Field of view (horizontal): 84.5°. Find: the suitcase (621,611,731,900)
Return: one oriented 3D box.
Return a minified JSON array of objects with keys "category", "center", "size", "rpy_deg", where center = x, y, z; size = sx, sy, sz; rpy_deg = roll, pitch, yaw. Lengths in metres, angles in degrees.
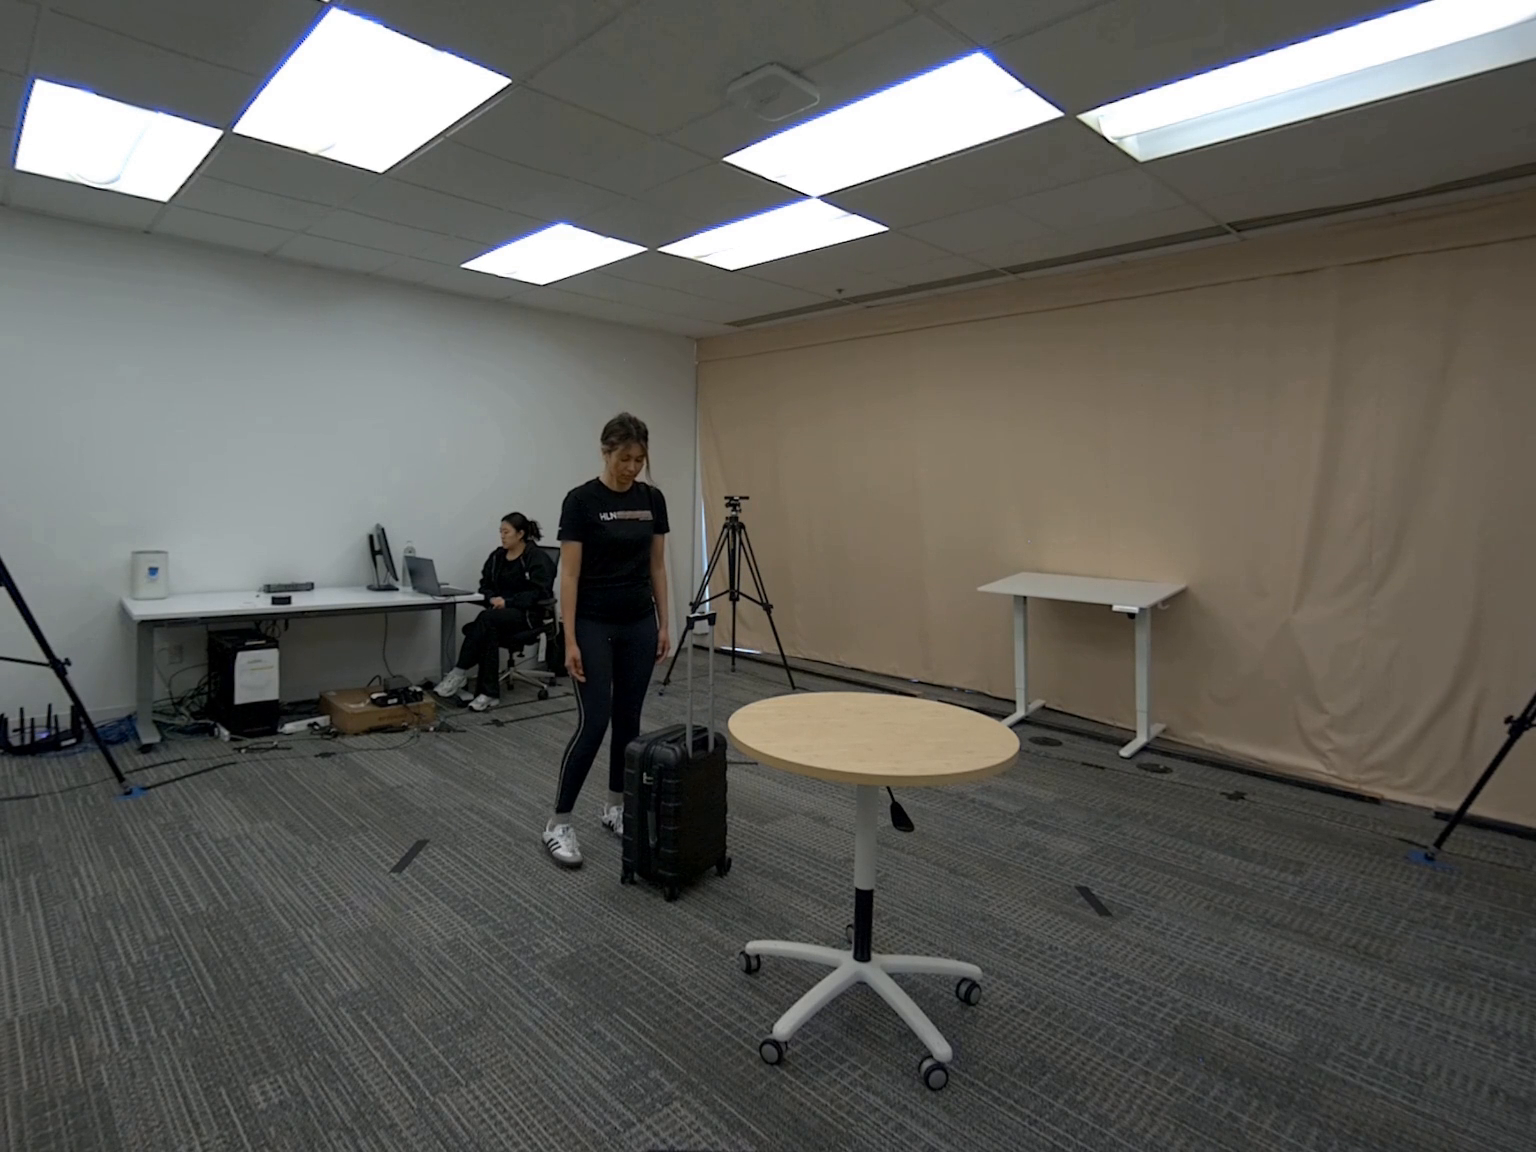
[{"category":"suitcase","center":[-0.344,0.627,3.036],"size":[0.263,0.976,0.376],"rpy_deg":[1,4,32]}]
